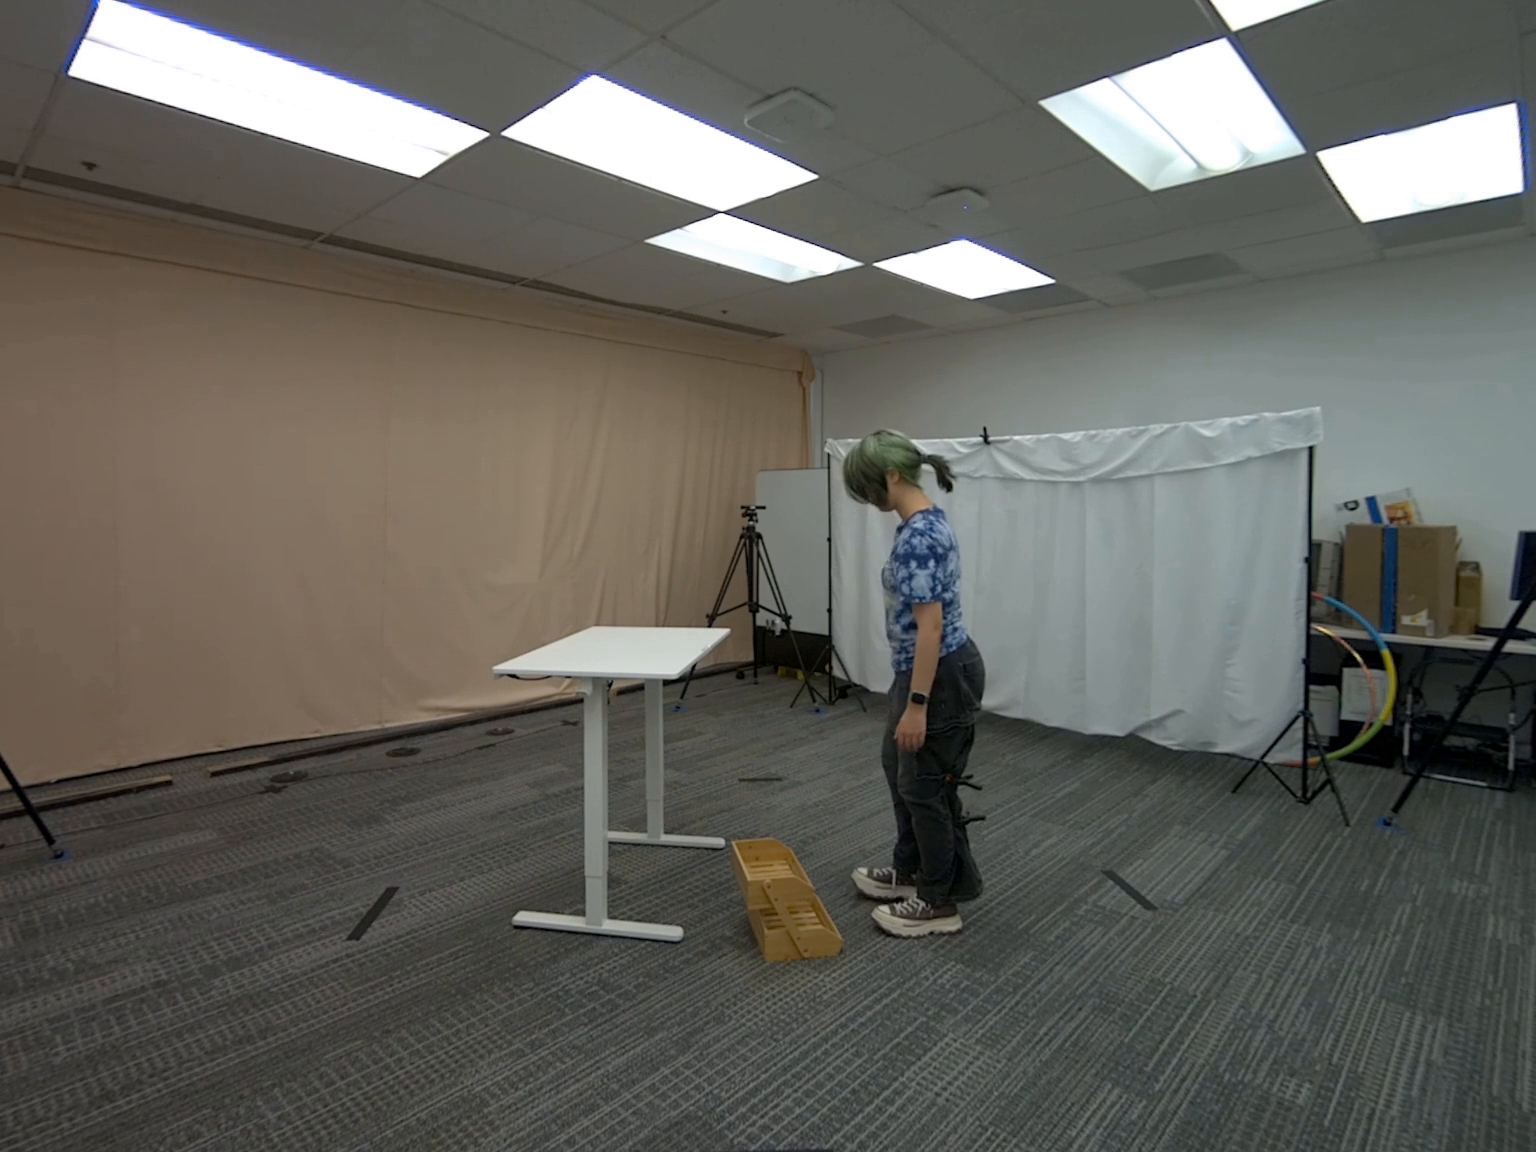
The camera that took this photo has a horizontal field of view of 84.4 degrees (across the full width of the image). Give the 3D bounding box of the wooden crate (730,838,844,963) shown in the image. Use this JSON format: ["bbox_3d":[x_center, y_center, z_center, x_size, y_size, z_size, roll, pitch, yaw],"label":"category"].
[{"bbox_3d":[0.055,1.042,2.719,0.299,0.272,0.329,-4,5,-12],"label":"wooden crate"}]
